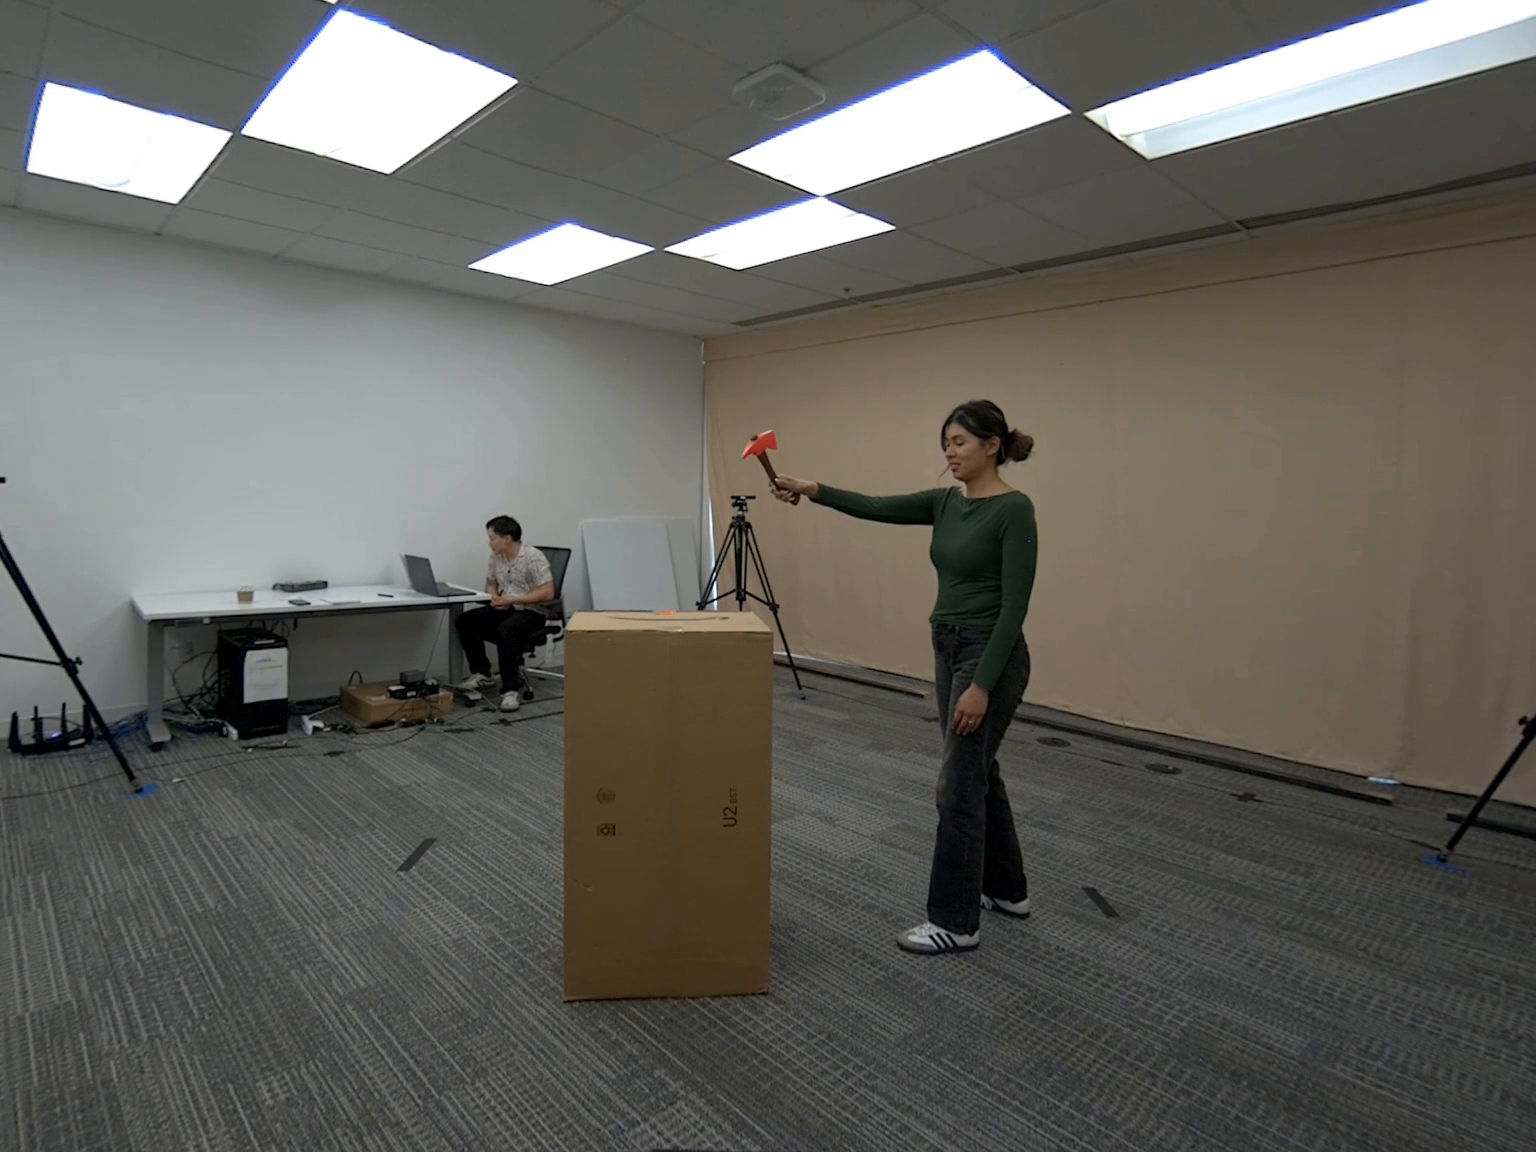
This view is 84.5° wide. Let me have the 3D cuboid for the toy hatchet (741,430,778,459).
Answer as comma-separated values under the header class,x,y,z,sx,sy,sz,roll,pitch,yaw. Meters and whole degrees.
class,x,y,z,sx,sy,sz,roll,pitch,yaw
toy hatchet,0.030,-0.329,2.566,0.030,0.131,0.262,13,-20,49
